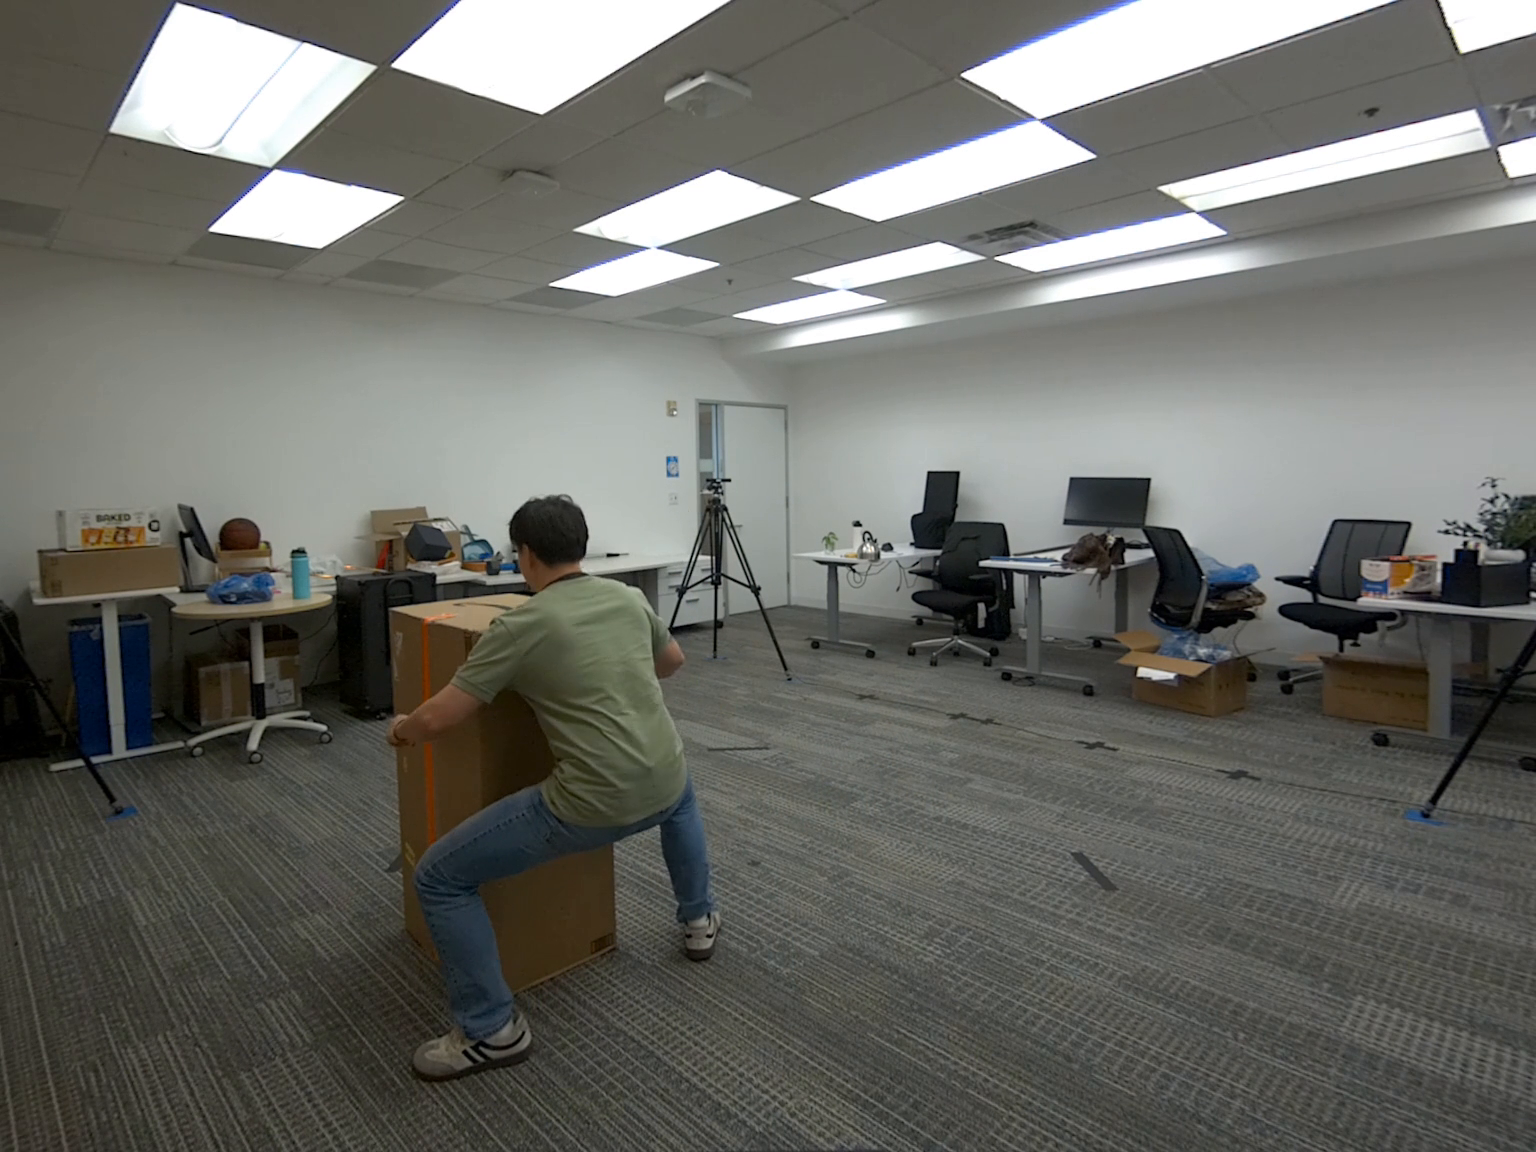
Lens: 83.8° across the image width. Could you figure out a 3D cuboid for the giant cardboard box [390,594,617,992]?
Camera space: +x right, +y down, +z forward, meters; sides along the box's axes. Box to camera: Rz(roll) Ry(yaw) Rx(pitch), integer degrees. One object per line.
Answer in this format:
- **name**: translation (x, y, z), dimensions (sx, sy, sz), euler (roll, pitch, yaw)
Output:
- **giant cardboard box**: translation (-0.809, 0.608, 2.594), dimensions (0.415, 1.021, 0.595), euler (-6, 6, -43)
